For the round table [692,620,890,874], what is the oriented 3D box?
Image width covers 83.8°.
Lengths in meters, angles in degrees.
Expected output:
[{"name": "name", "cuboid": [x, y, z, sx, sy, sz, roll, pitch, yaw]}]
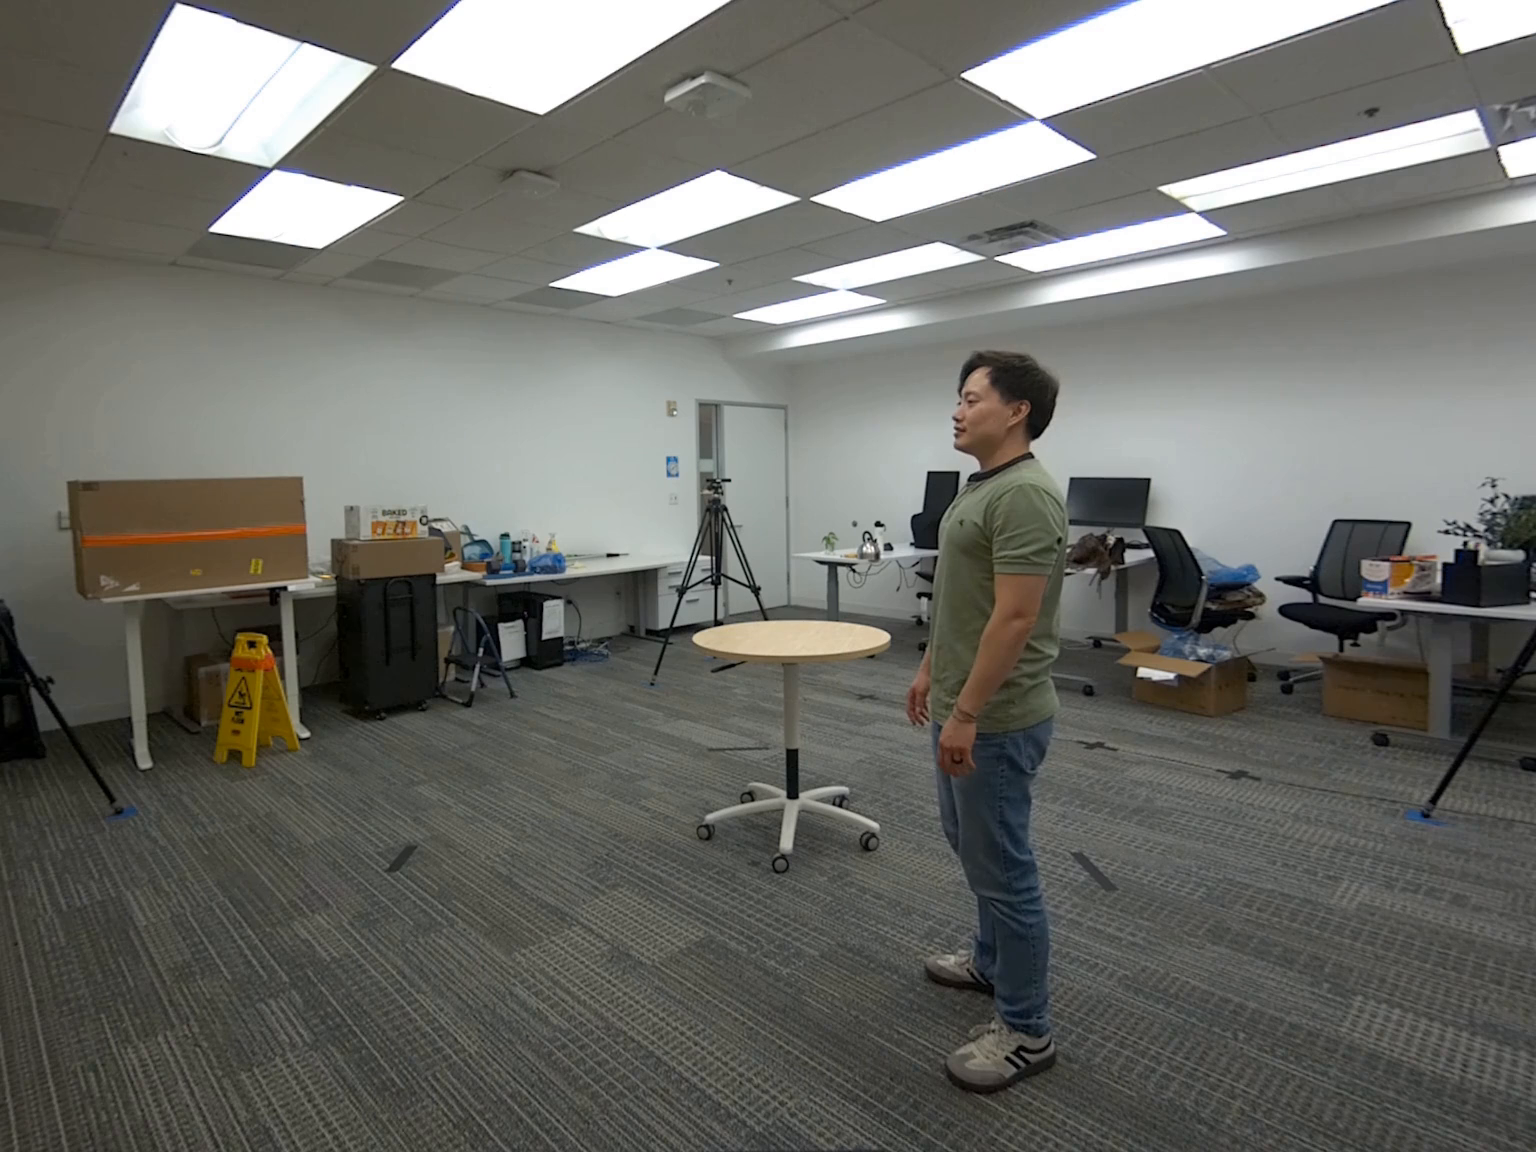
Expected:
[{"name": "round table", "cuboid": [0.095, 0.626, 3.348, 0.763, 0.791, 0.768, -1, 5, -2]}]
